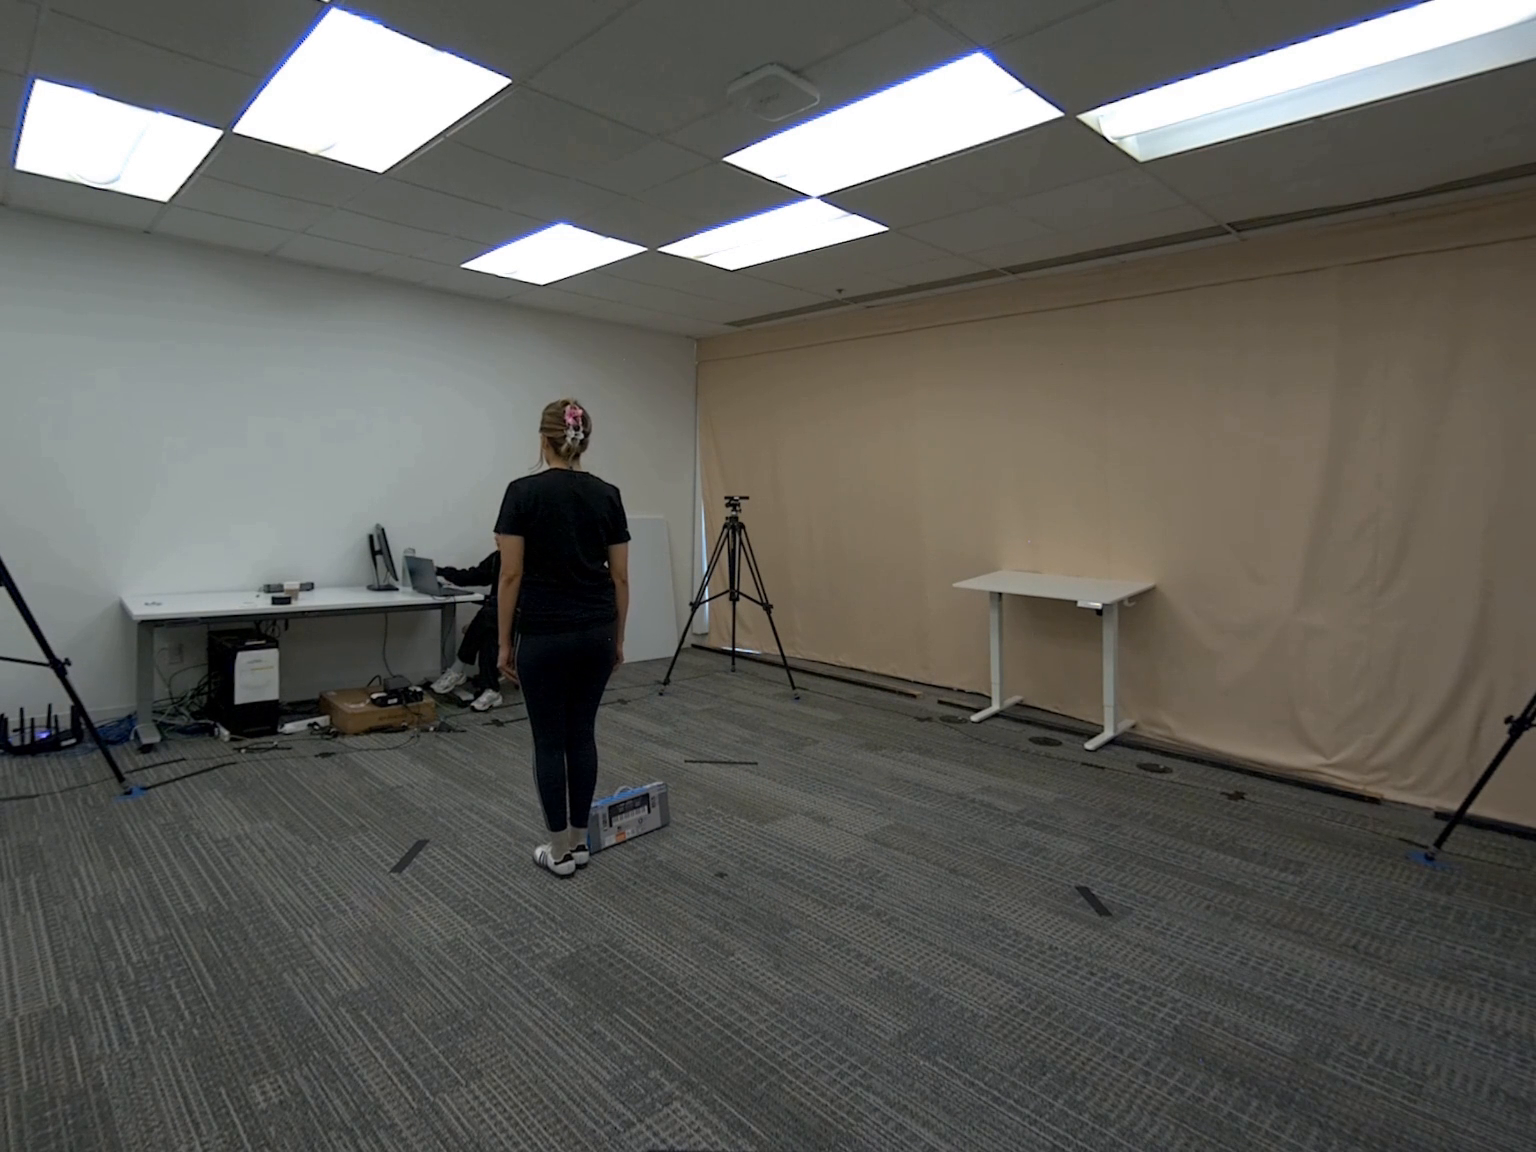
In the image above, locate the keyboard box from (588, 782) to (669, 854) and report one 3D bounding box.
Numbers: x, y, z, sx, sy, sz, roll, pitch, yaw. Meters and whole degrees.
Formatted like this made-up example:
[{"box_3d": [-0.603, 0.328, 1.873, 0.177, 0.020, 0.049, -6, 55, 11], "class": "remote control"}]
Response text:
[{"box_3d": [-0.584, 0.978, 3.424, 0.060, 0.176, 0.427, -7, -2, 39], "class": "keyboard box"}]
